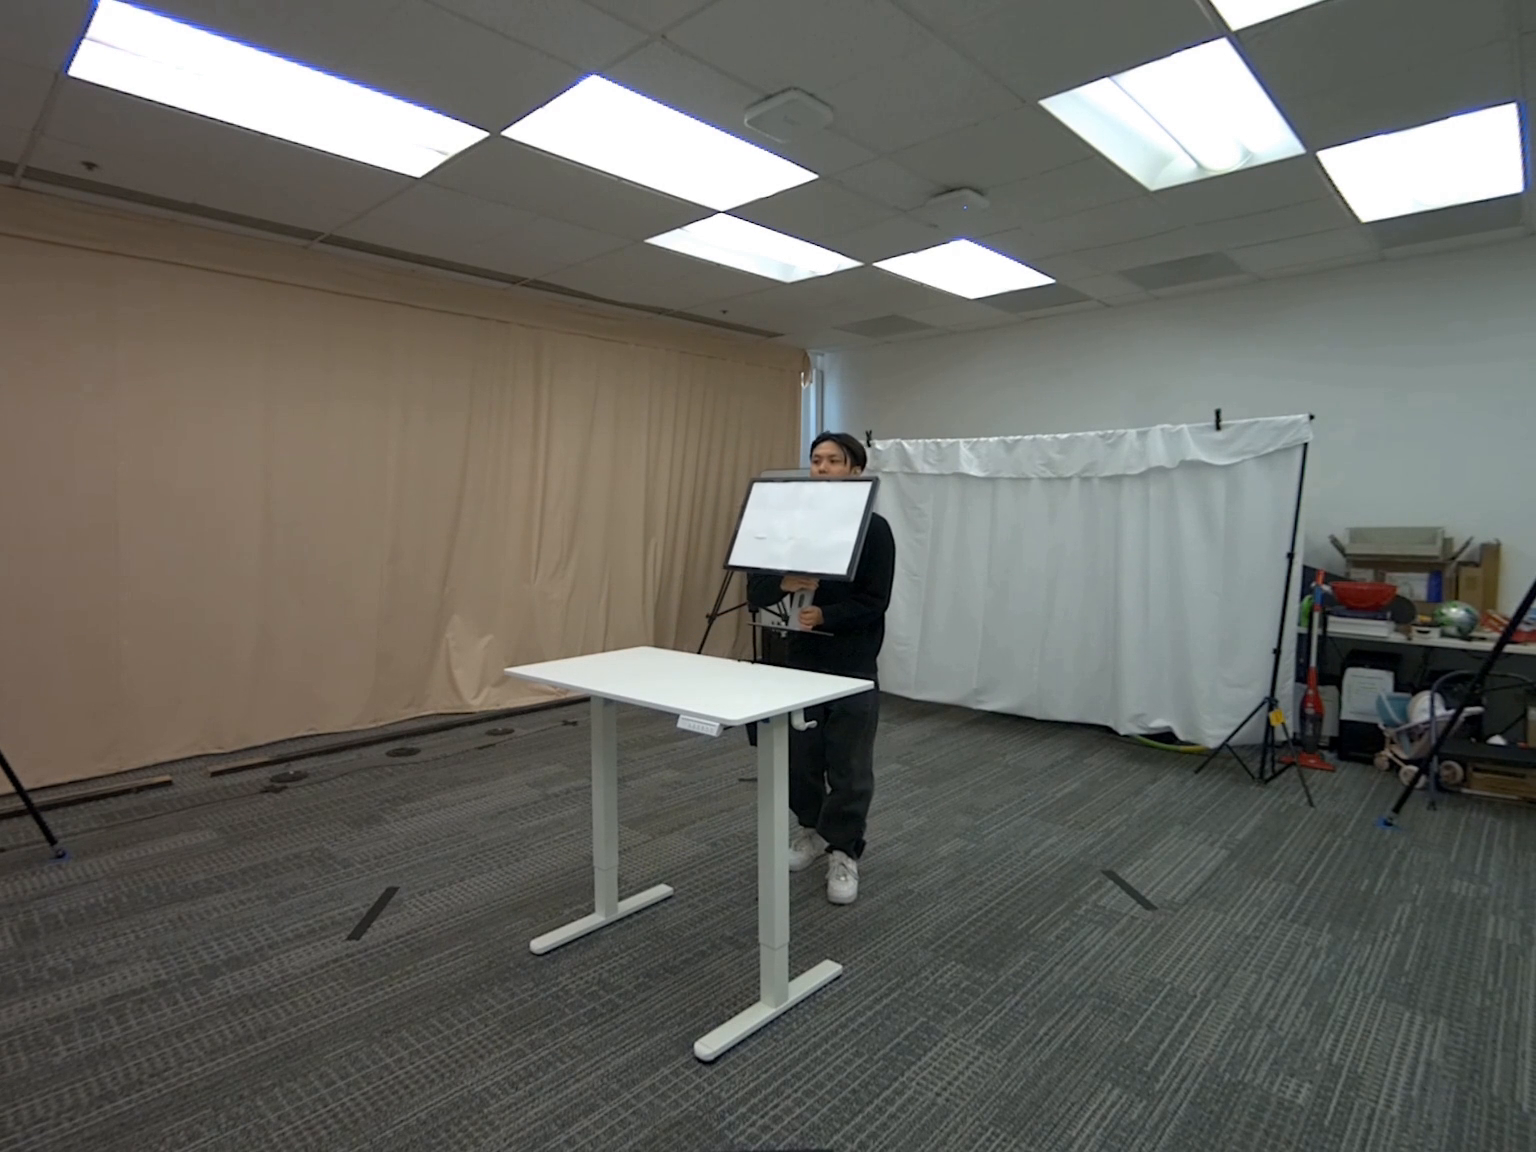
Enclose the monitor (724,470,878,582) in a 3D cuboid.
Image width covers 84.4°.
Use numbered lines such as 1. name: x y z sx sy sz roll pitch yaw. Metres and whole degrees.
1. monitor: 0.108 -0.078 2.909 0.548 0.516 0.169 6 1 42
